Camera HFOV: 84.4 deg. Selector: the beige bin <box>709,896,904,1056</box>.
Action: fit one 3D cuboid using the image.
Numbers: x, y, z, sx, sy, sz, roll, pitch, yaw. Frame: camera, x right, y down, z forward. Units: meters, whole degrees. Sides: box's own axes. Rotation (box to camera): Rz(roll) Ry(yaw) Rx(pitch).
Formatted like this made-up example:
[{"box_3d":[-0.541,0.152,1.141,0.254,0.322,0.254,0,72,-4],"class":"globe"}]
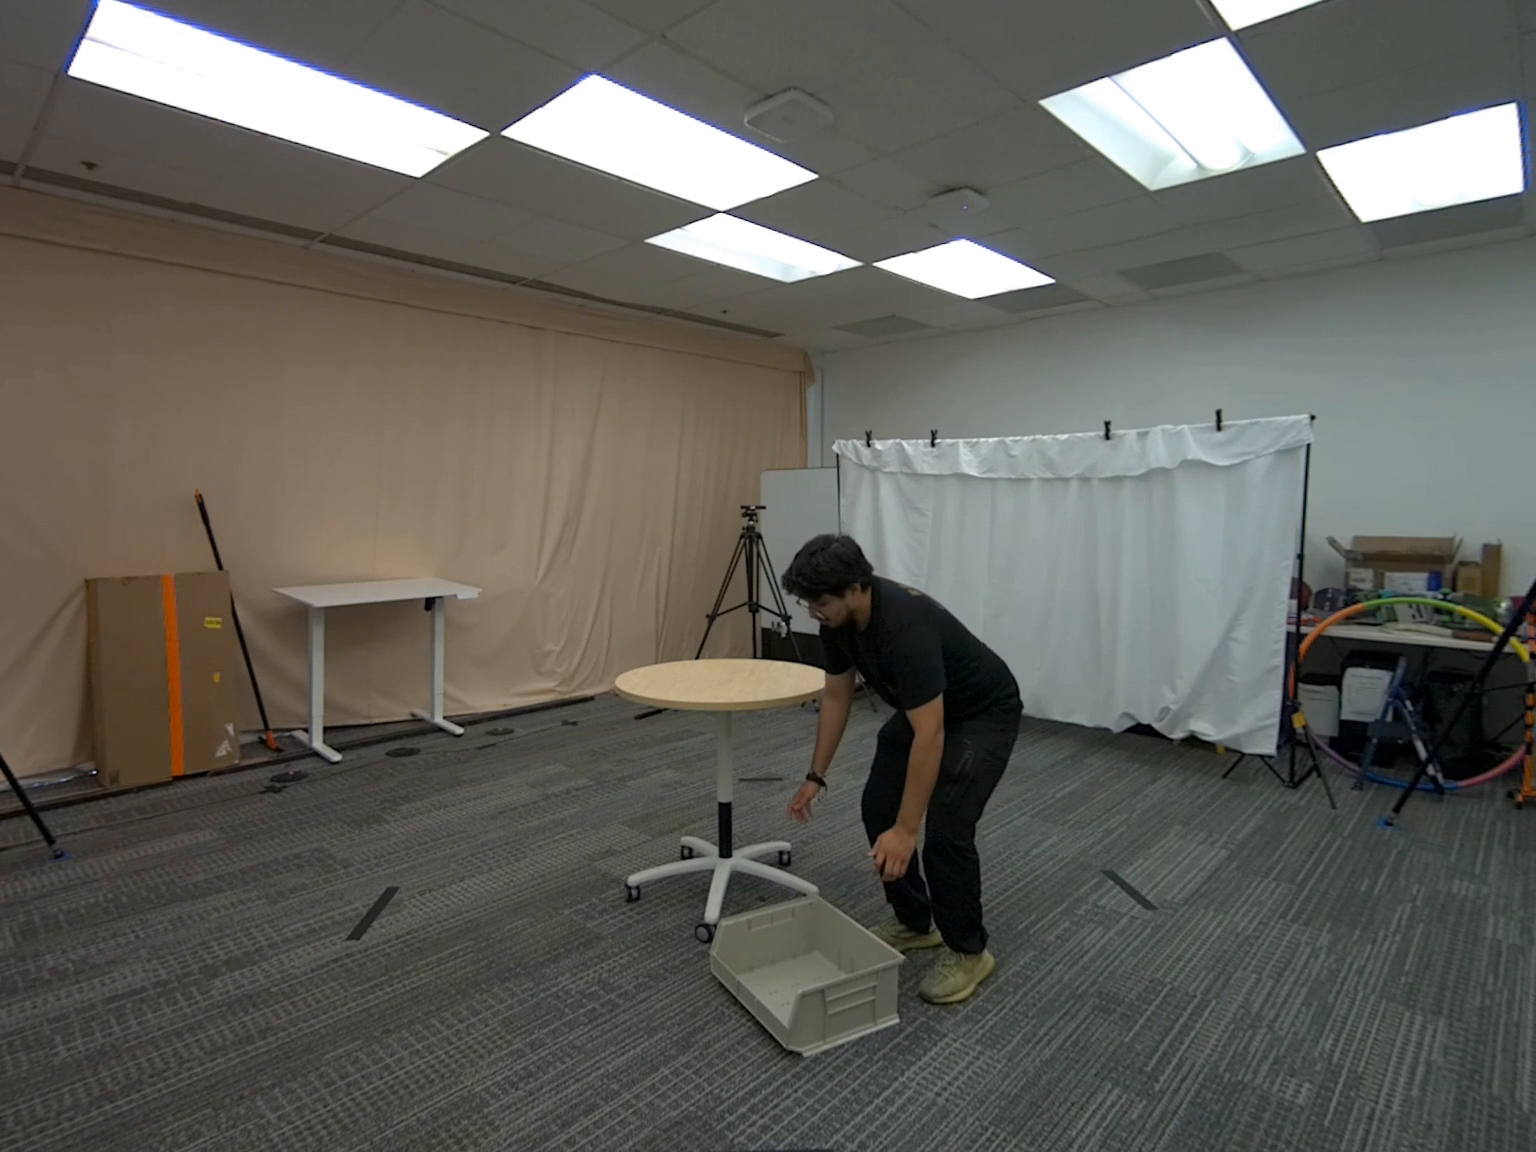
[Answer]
[{"box_3d":[0.114,1.101,2.359,0.367,0.188,0.435,0,4,-30],"class":"beige bin"}]
